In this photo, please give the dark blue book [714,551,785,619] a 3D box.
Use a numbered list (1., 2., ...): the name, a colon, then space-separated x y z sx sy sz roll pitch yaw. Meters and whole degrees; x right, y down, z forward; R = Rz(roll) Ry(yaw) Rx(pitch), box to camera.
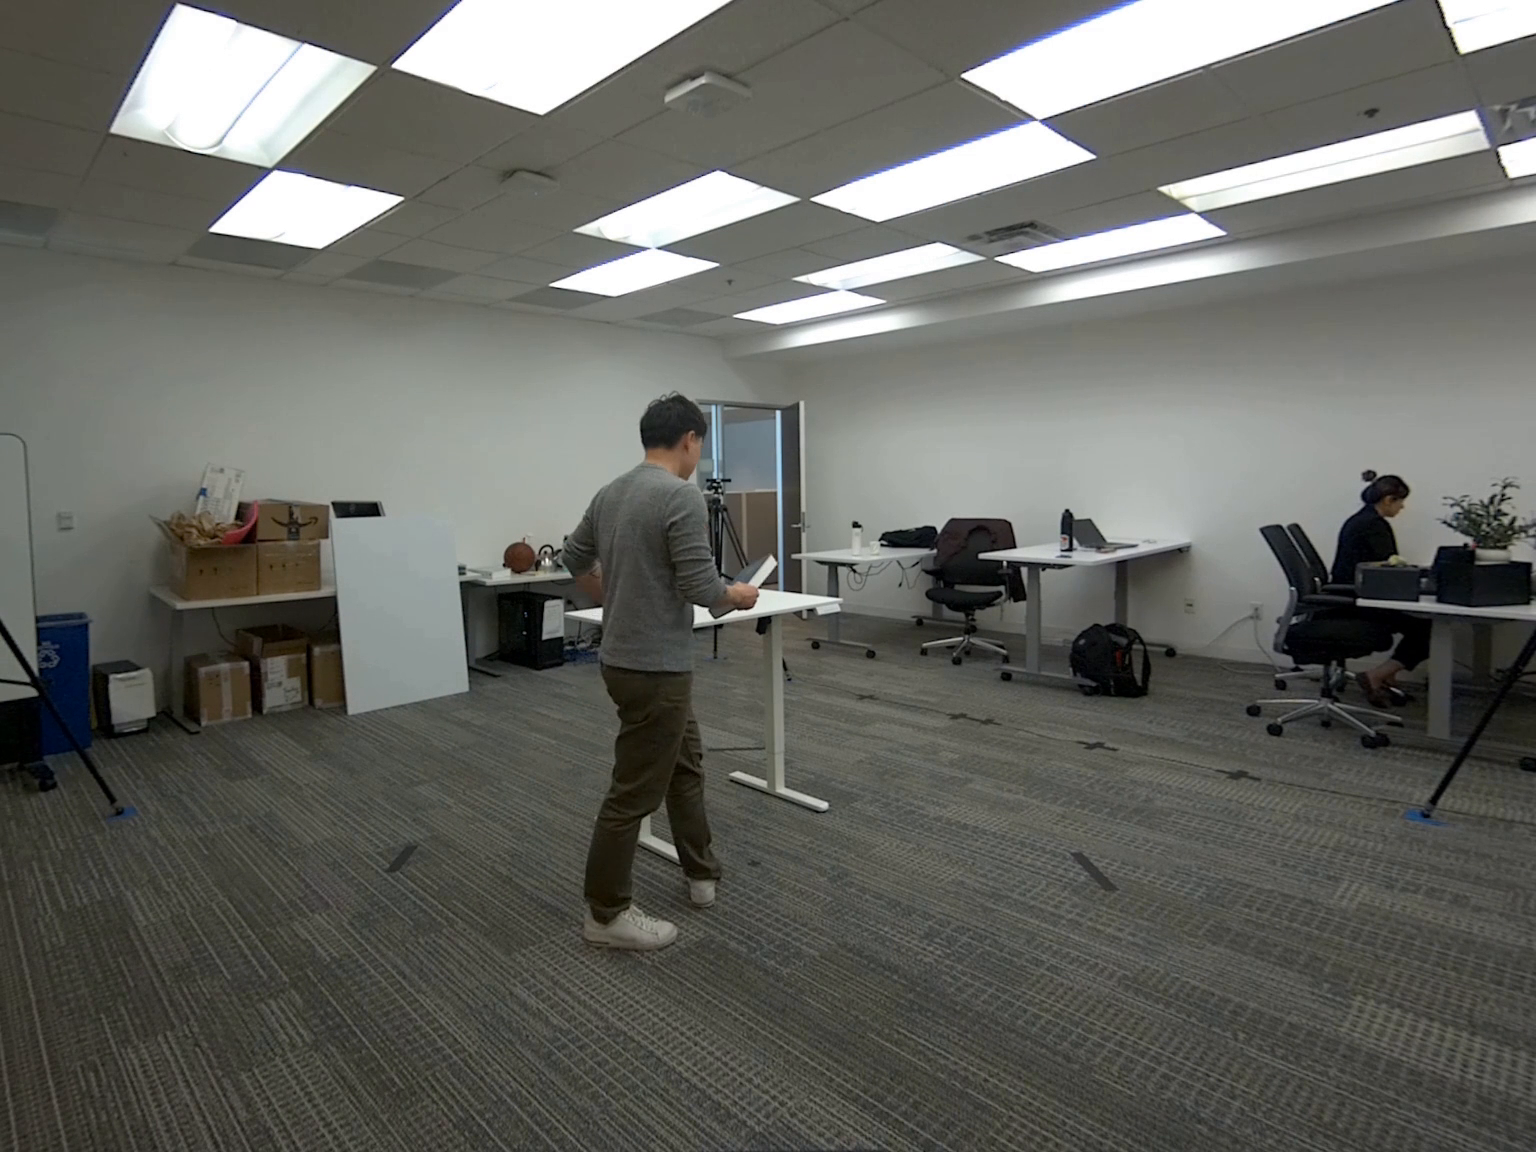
1. dark blue book: -0.072 0.027 2.826 0.165 0.045 0.245 -30 12 45
